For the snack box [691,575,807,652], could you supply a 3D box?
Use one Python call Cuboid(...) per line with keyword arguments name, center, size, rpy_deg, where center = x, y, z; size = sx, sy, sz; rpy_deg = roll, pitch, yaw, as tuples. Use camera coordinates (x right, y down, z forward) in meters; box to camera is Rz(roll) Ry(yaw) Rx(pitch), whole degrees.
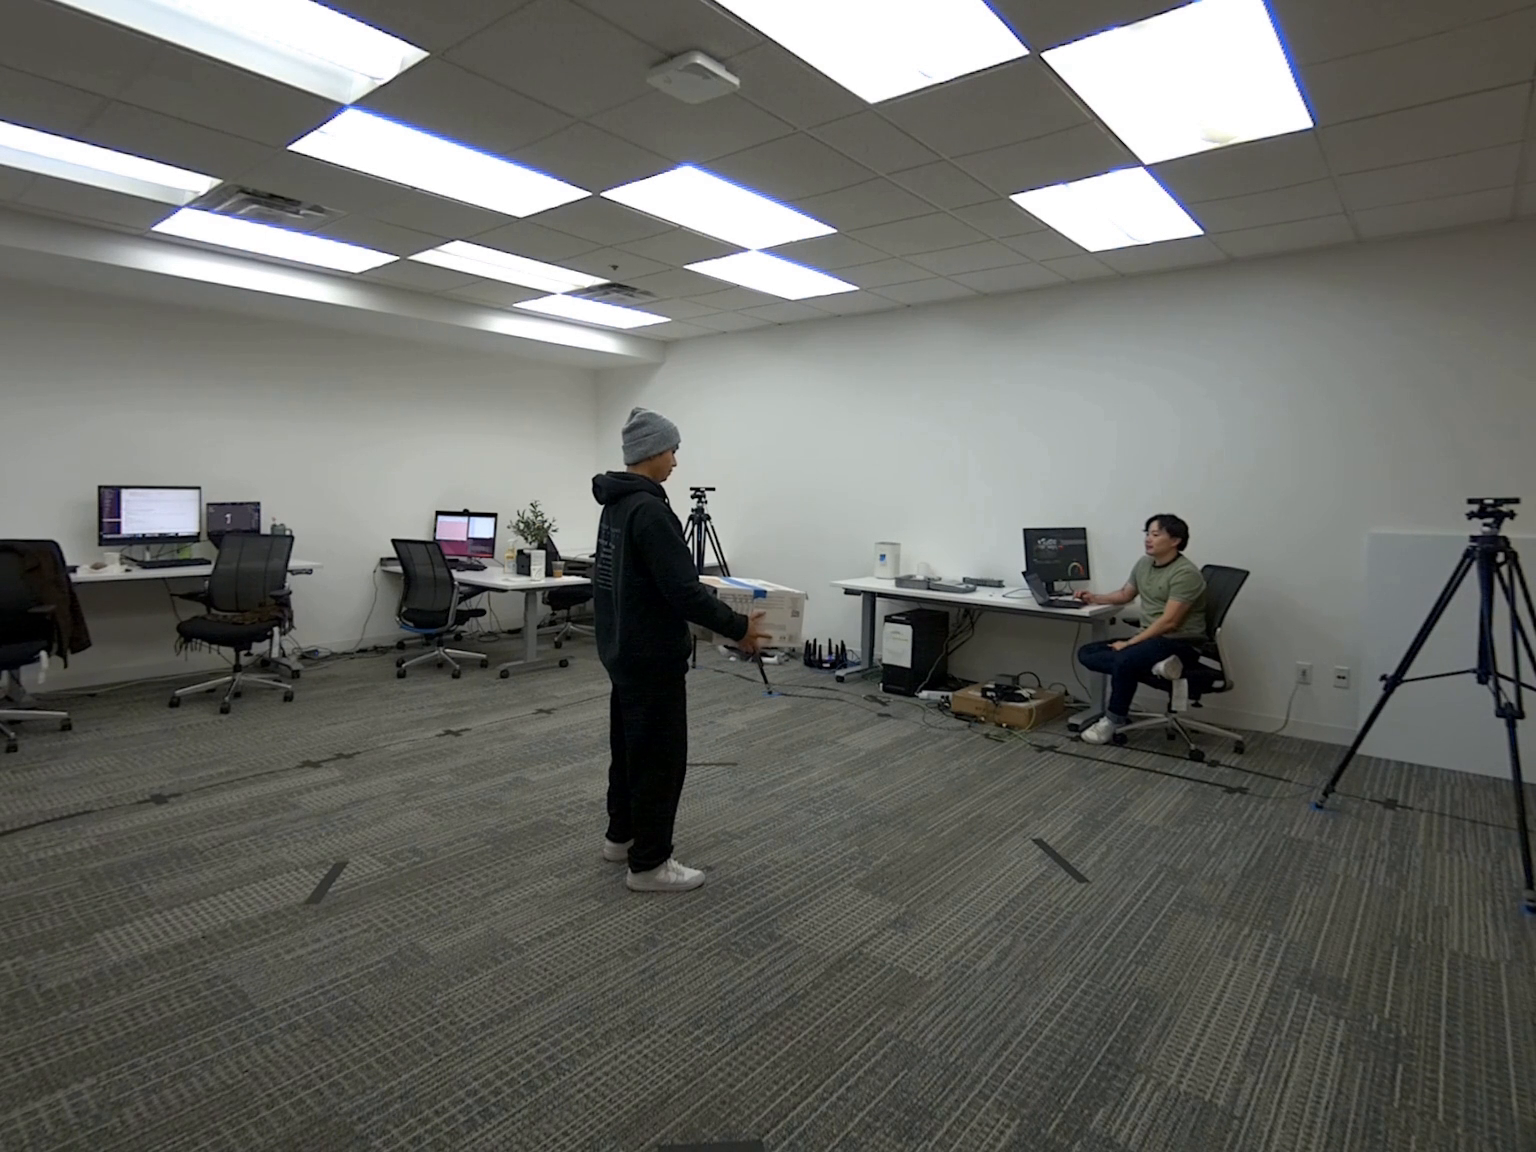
Cuboid(name="snack box", center=(-0.111, 0.128, 3.182), size=(0.333, 0.205, 0.415), rpy_deg=(3, 5, -20))
